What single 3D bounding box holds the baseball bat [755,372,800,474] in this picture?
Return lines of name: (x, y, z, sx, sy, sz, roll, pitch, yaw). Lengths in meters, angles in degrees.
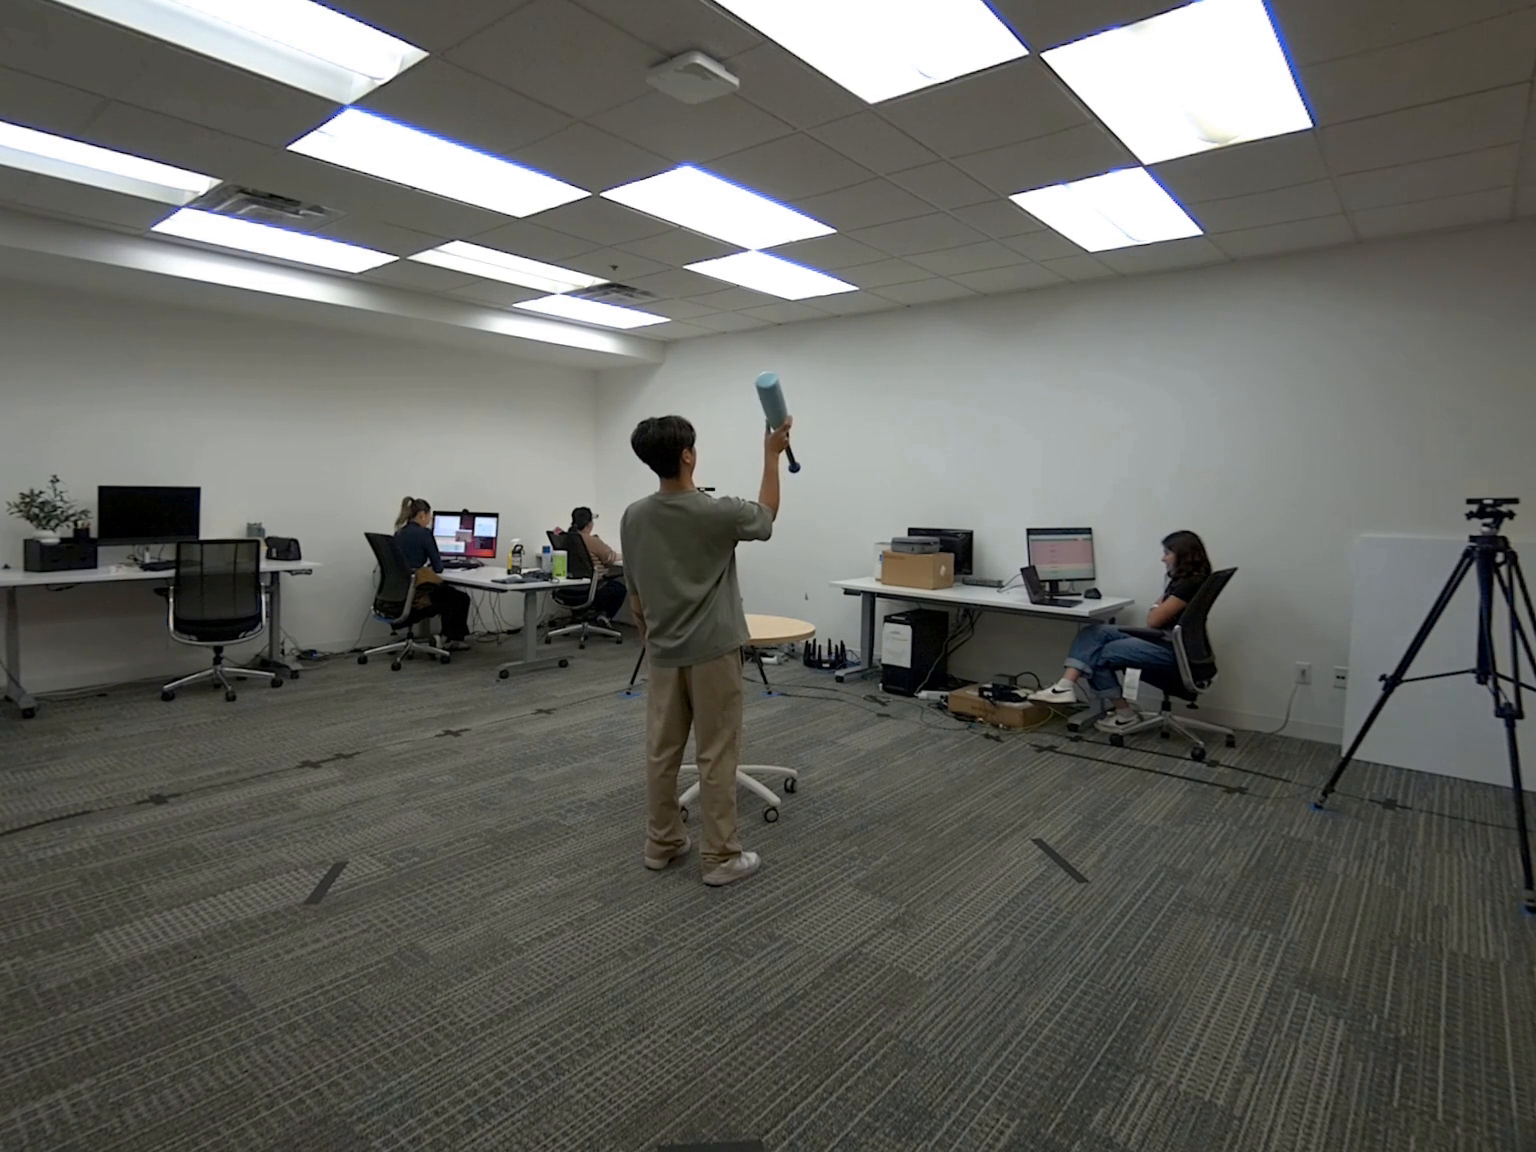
baseball bat: (0.037, -0.572, 3.273, 0.091, 0.090, 0.523, 3, -31, 17)
